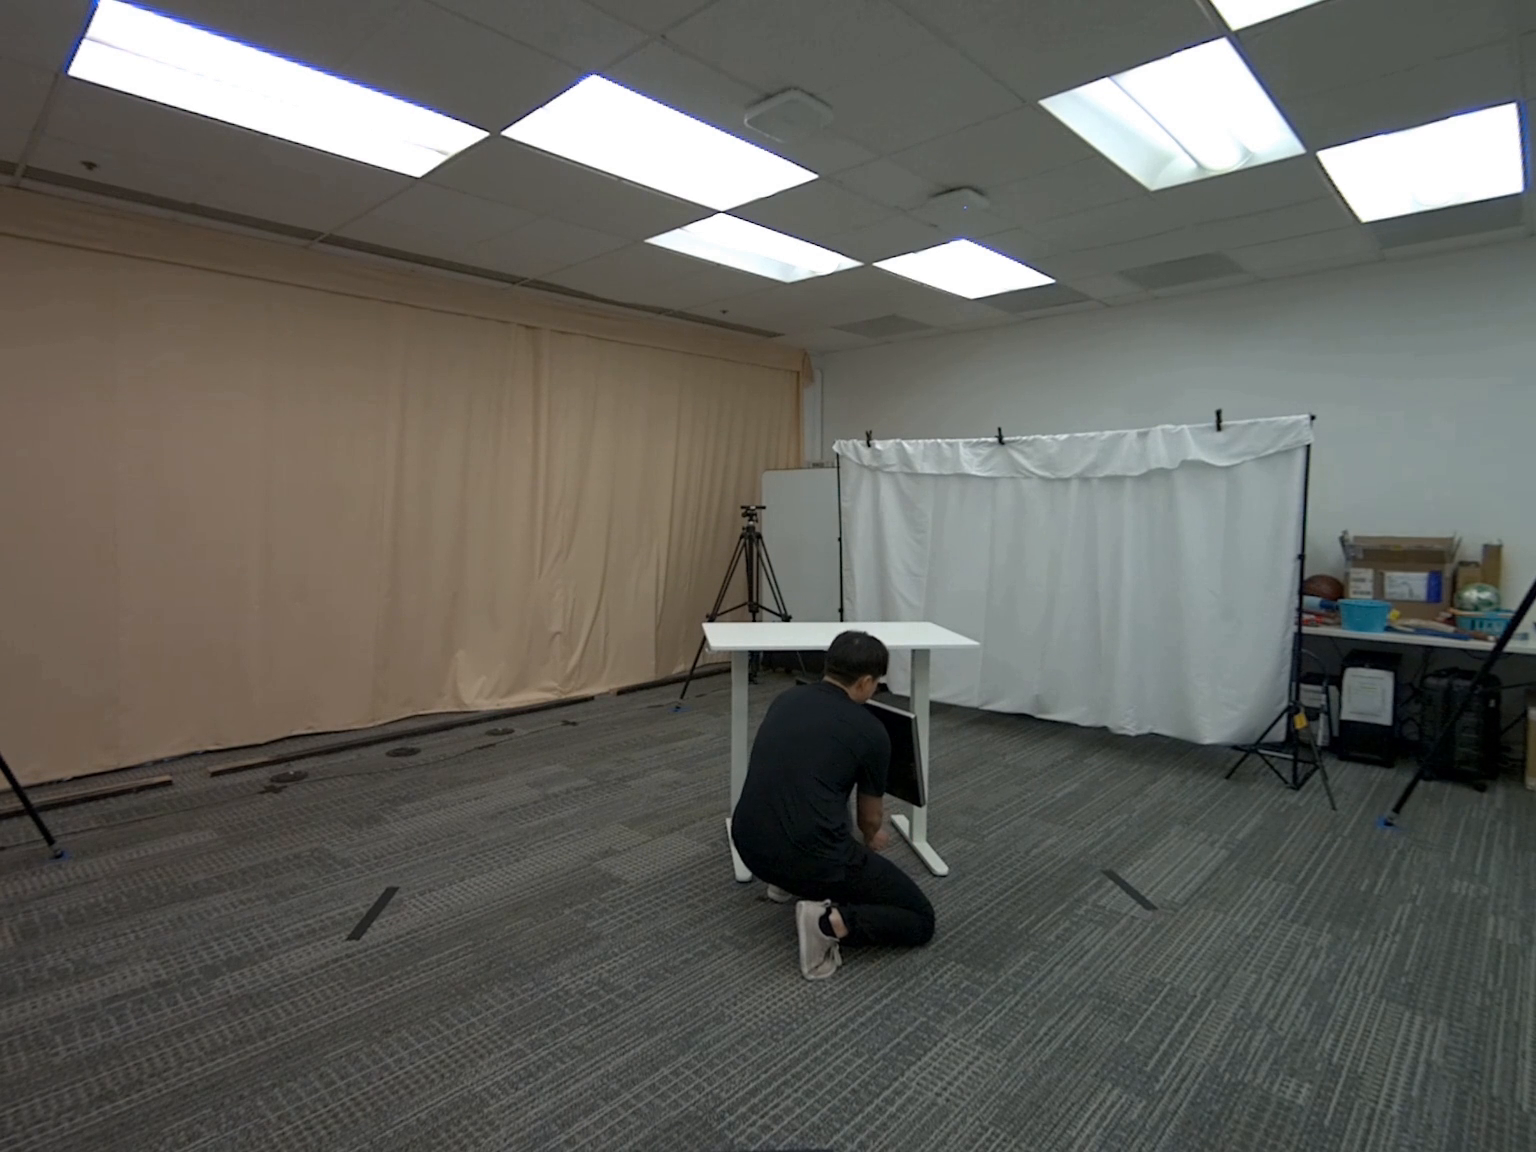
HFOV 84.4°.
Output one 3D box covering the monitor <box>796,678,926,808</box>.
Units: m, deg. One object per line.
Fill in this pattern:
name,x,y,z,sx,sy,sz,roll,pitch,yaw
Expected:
monitor,0.317,0.695,3.097,0.182,0.519,0.558,-10,15,-43
